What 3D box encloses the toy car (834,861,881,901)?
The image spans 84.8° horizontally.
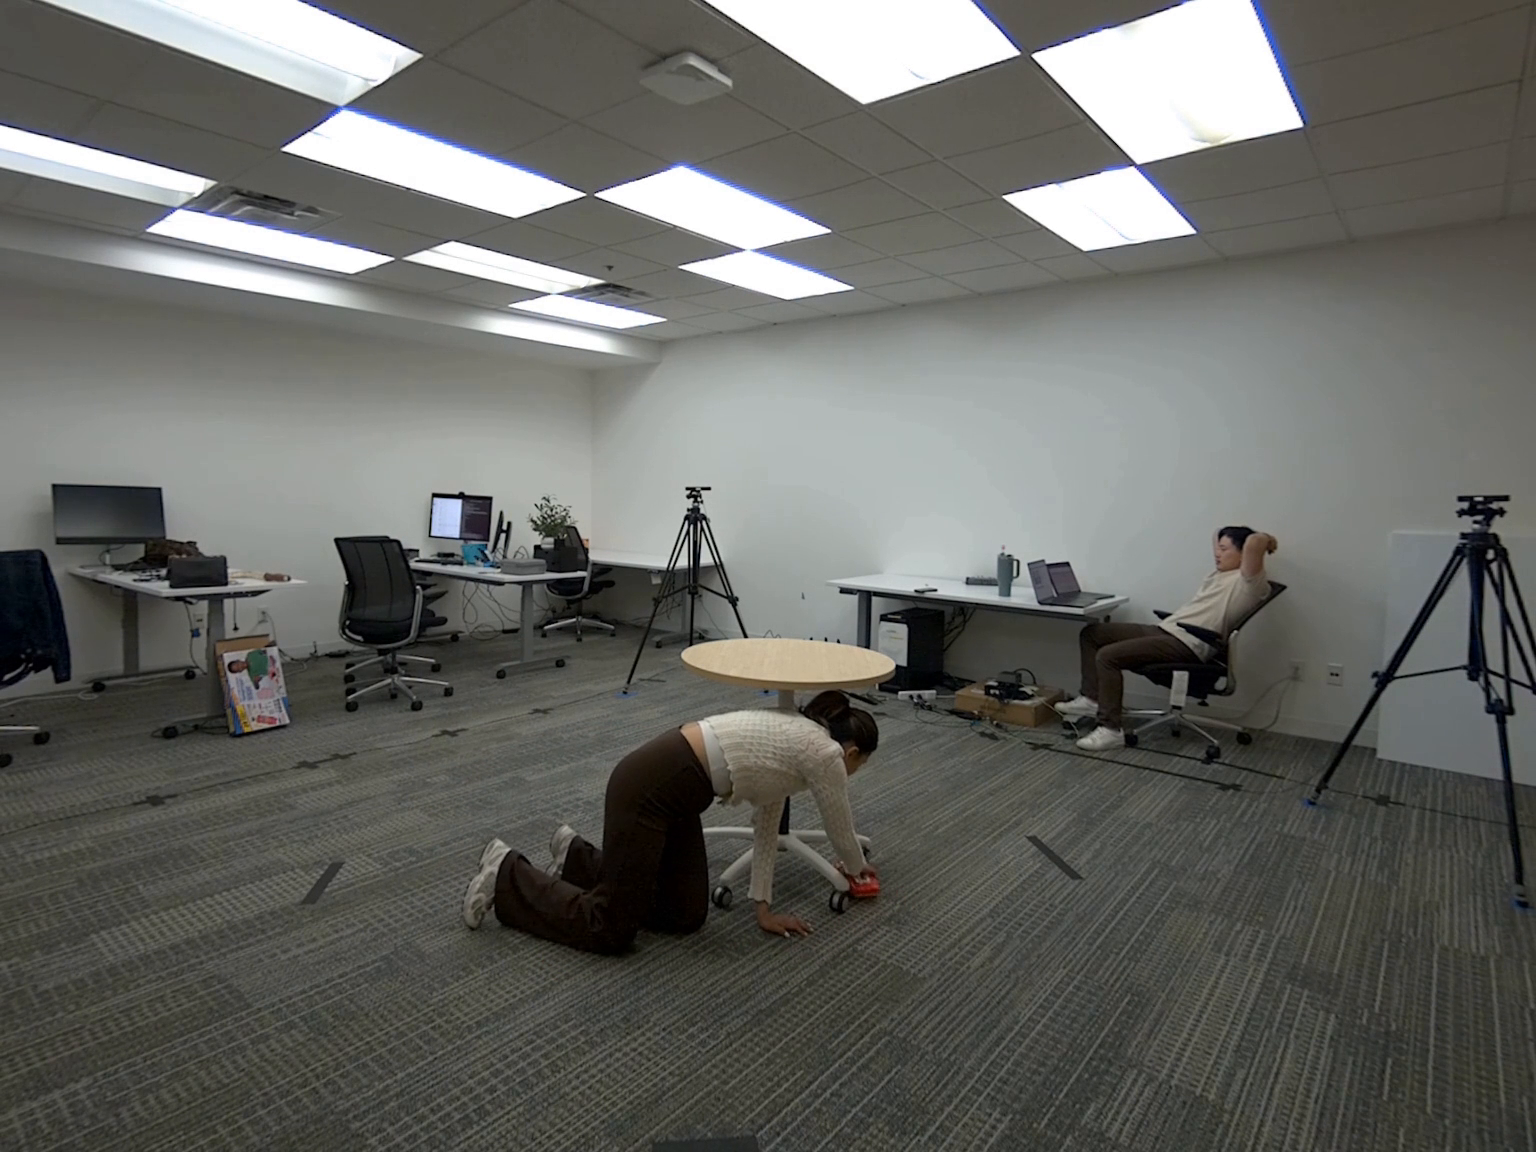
[{"bbox_3d":[0.309,1.059,2.961,0.129,0.083,0.256,2,-4,-12],"label":"toy car"}]
